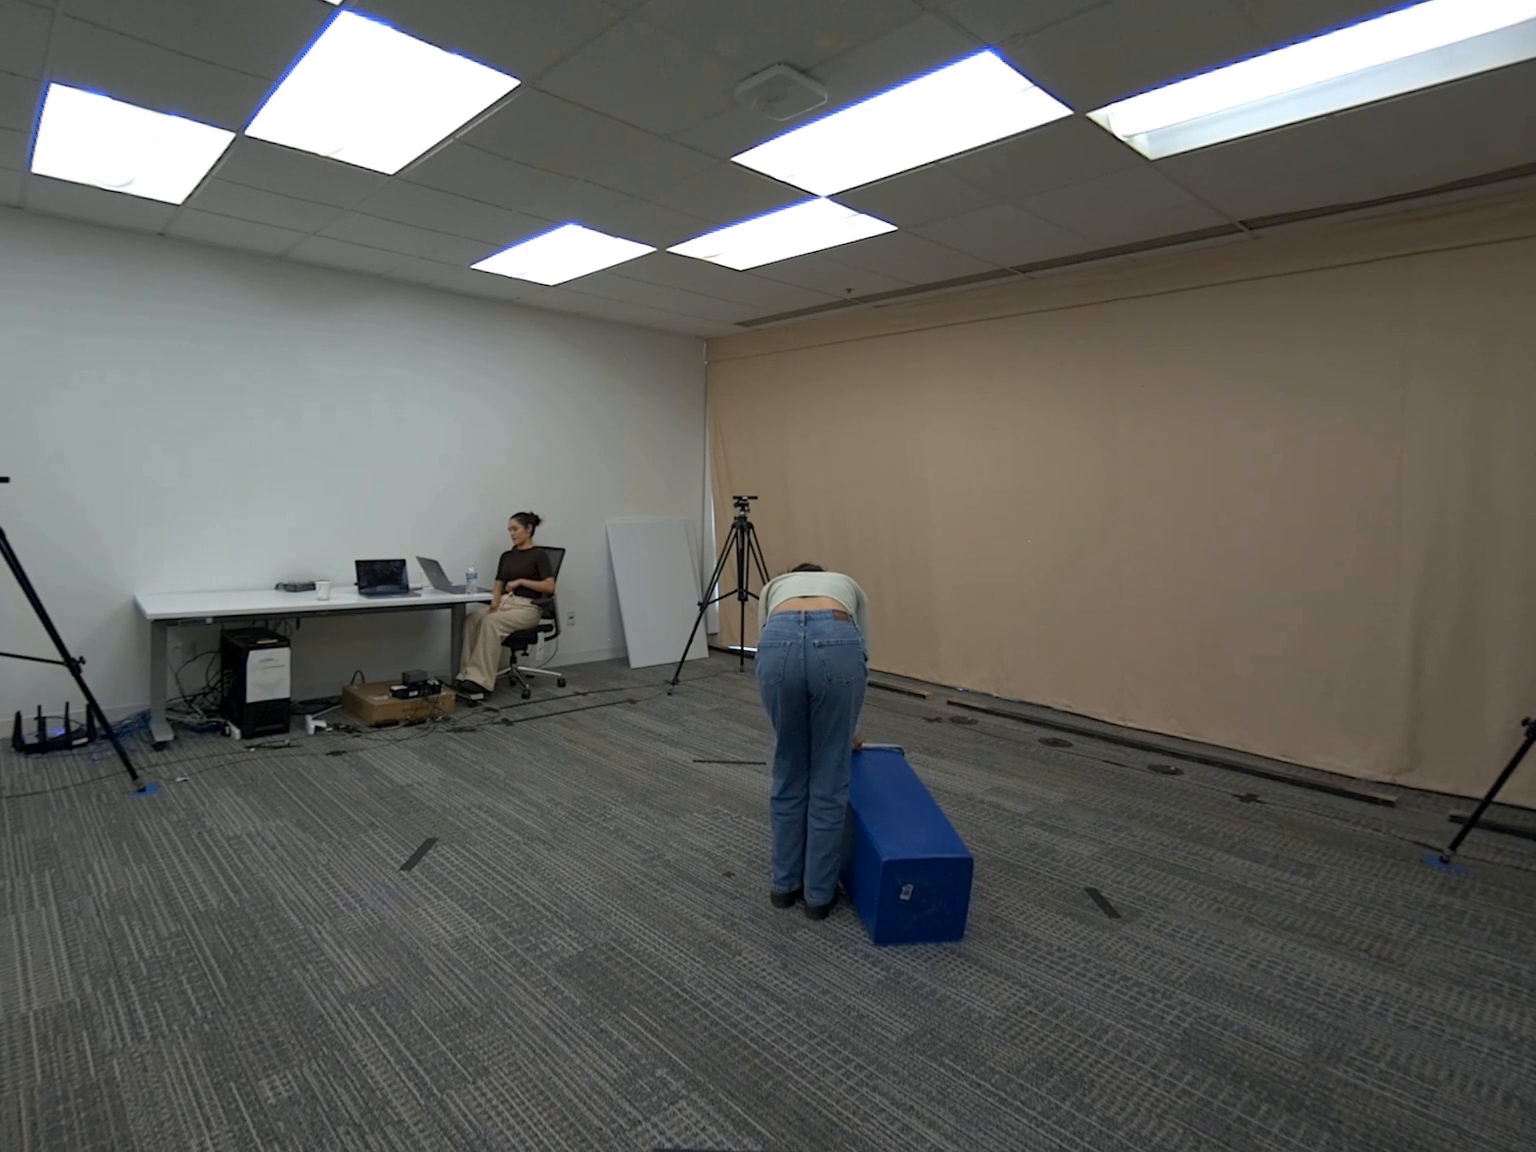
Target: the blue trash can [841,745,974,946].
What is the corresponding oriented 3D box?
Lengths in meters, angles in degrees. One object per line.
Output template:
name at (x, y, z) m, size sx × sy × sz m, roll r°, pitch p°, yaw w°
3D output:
blue trash can at (0.404, 0.911, 2.957) m, size 0.371 × 0.375 × 0.725 m, roll 1°, pitch 13°, yaw -11°
